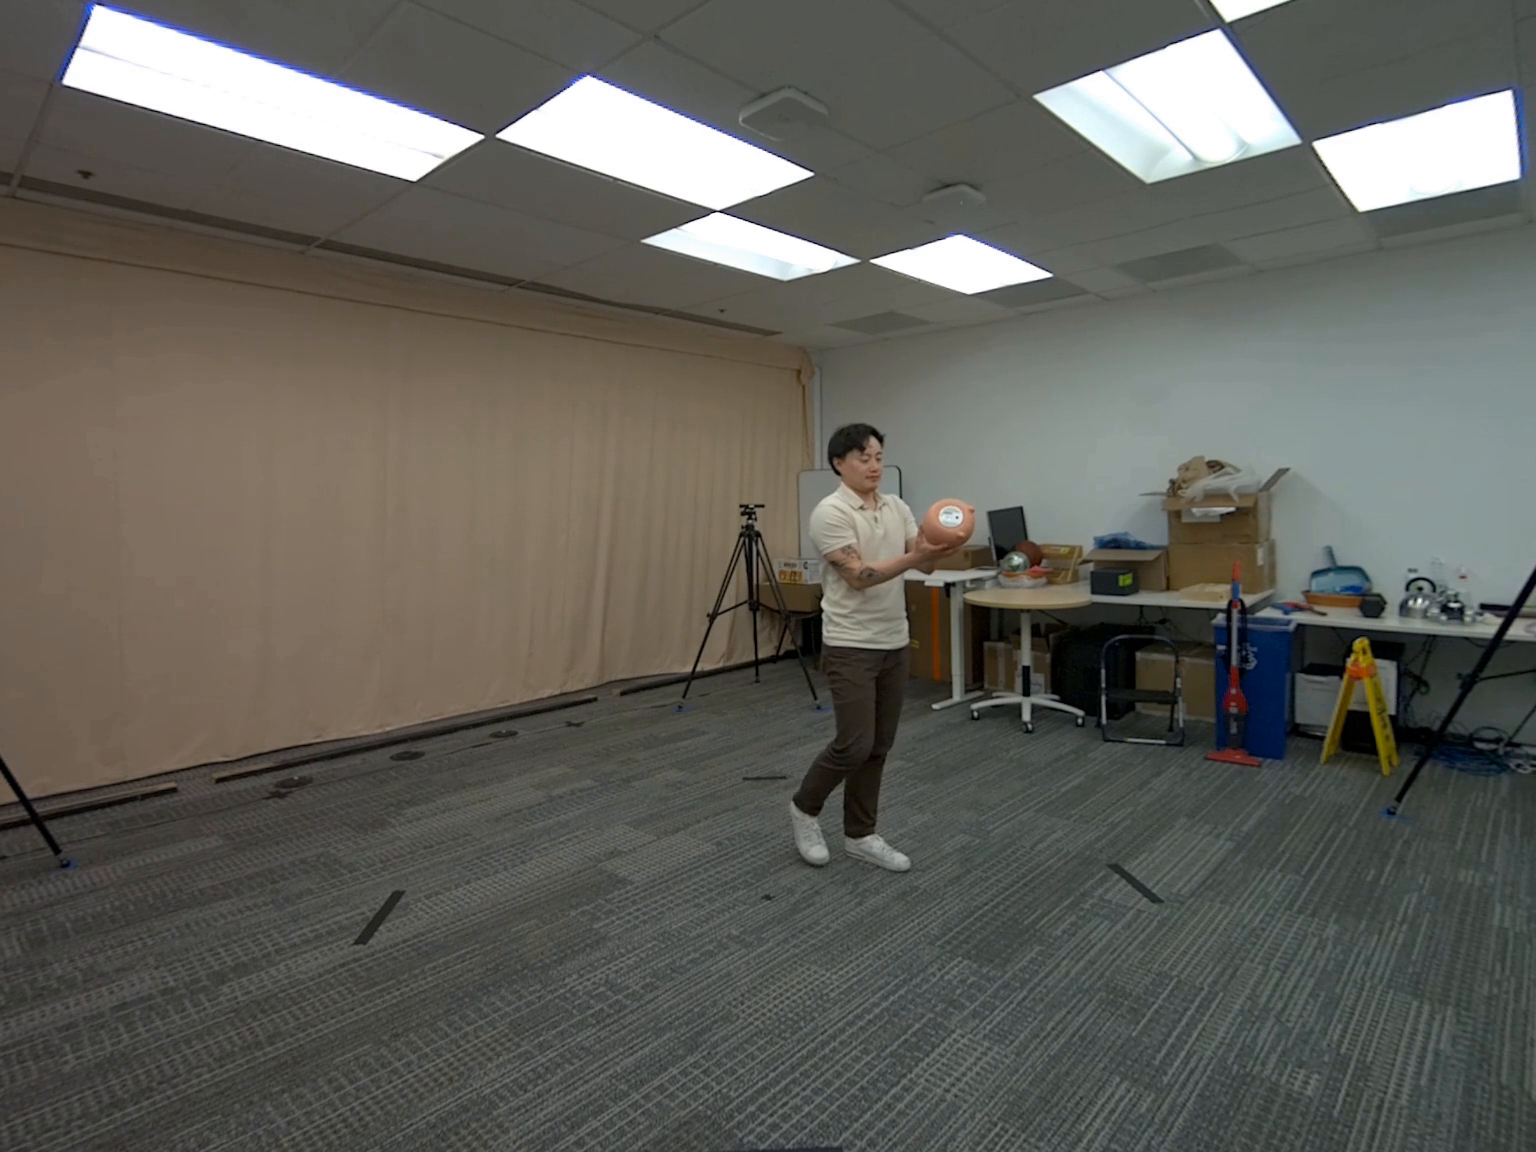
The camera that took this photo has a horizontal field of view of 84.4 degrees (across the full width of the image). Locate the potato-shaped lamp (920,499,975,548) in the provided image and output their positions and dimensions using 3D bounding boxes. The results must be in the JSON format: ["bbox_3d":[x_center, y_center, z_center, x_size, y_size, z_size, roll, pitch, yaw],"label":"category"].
[{"bbox_3d":[0.618,-0.164,2.875,0.175,0.165,0.193,18,-19,18],"label":"potato-shaped lamp"}]
